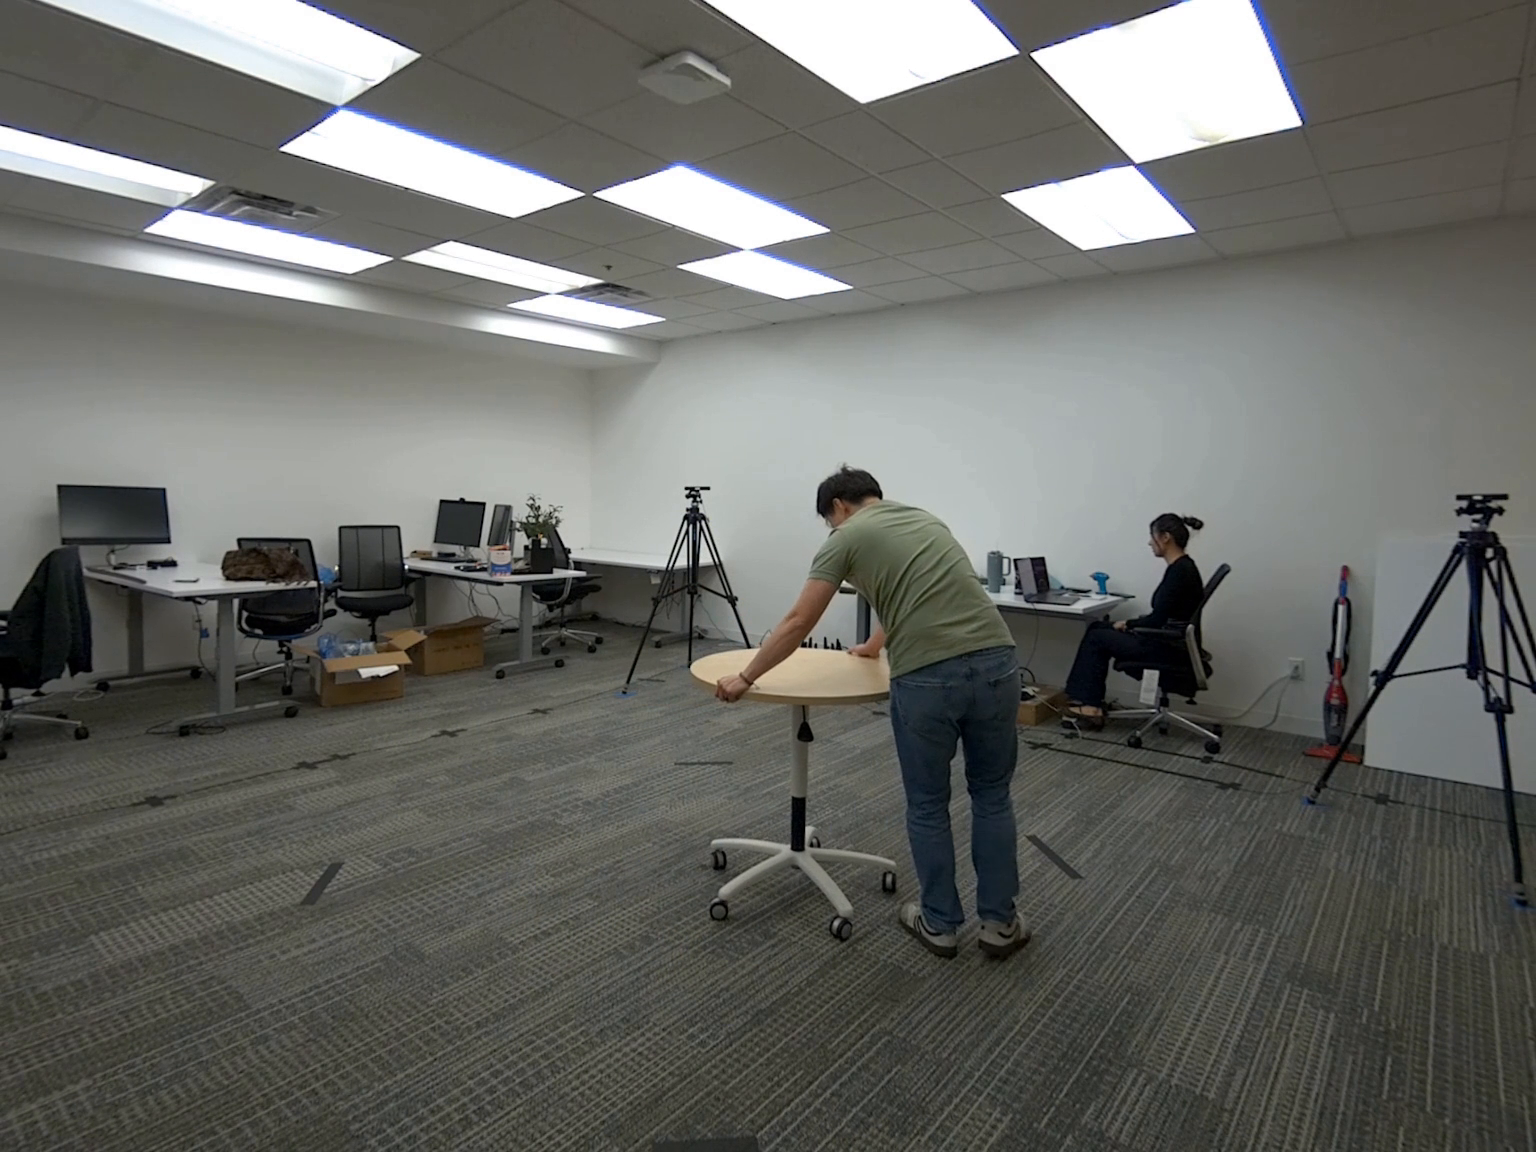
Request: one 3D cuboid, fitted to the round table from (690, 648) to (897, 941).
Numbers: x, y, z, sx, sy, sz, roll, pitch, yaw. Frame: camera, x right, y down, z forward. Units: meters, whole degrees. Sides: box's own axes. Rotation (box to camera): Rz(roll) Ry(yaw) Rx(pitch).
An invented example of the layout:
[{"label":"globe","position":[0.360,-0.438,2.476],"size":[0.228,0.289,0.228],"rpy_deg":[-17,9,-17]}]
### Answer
[{"label":"round table","position":[0.096,0.703,2.941],"size":[0.763,0.791,0.768],"rpy_deg":[1,4,-2]}]
